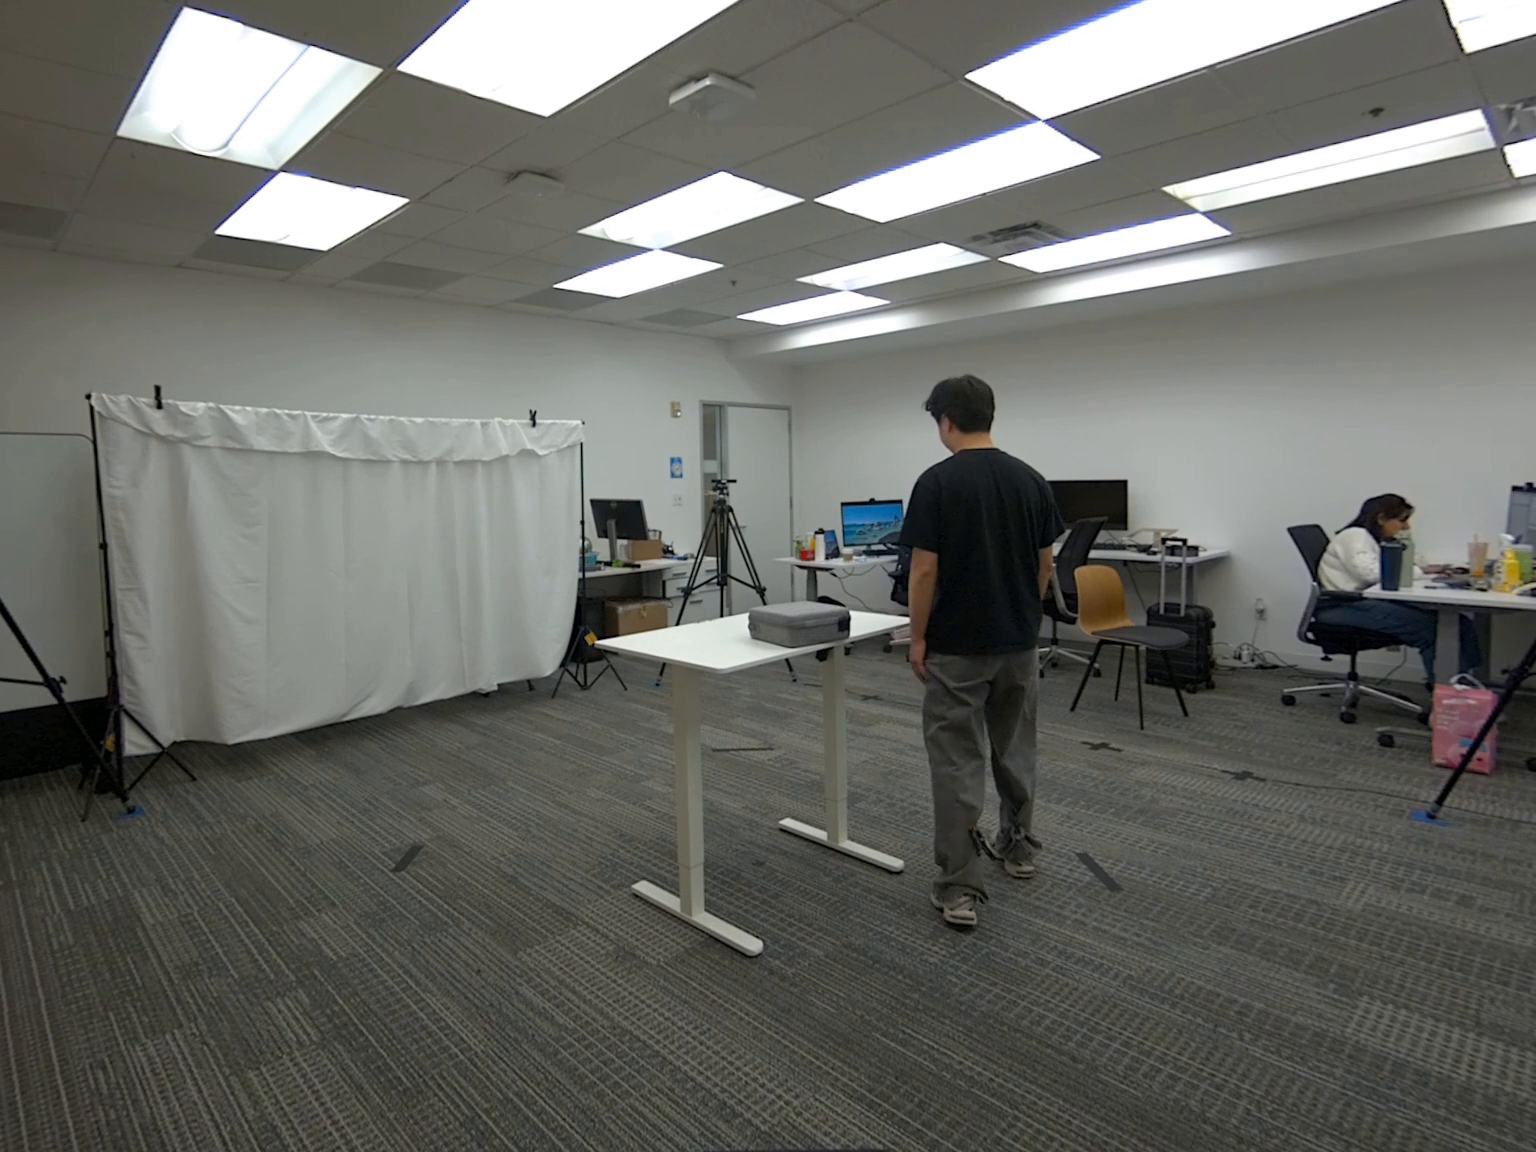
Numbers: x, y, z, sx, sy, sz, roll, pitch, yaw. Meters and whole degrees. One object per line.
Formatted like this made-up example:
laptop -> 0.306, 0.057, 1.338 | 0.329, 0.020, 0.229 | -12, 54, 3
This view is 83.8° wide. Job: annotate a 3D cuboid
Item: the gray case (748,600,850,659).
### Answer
gray case -> 0.099, 0.148, 2.751 | 0.251, 0.104, 0.268 | -7, 7, -32
